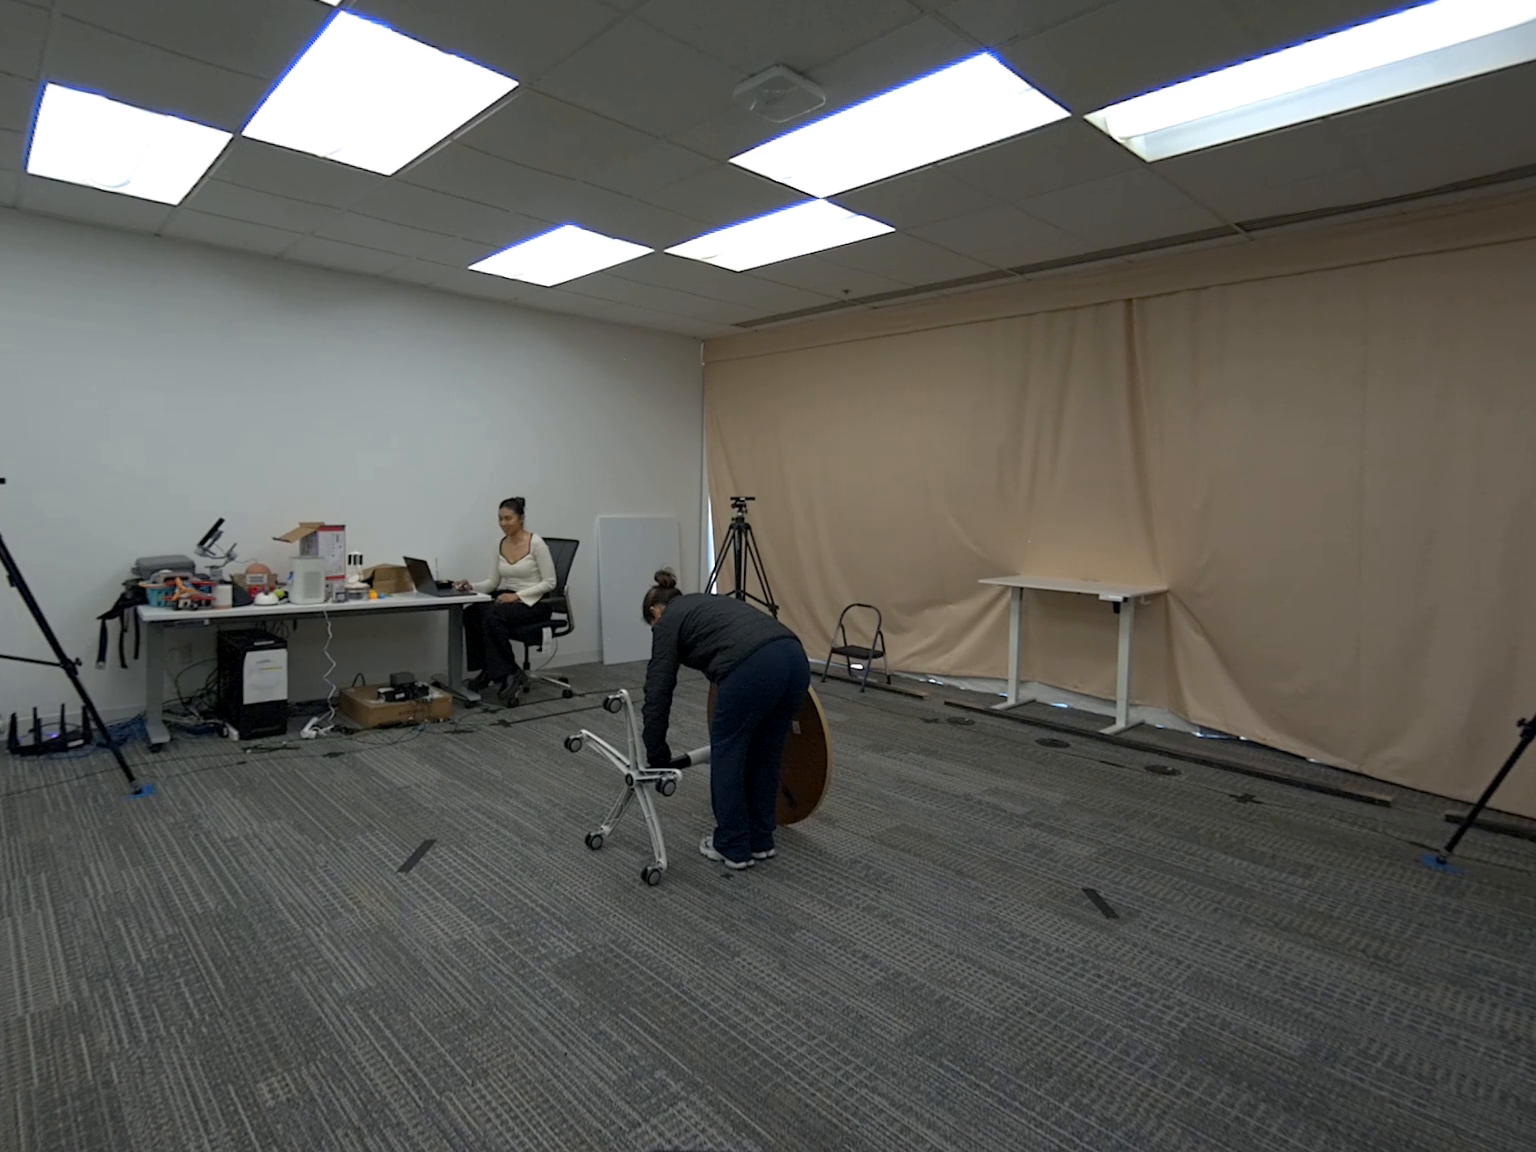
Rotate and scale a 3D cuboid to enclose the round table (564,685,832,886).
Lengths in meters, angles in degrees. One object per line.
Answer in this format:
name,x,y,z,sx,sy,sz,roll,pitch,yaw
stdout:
round table,-0.288,0.745,3.358,0.771,0.780,0.805,-10,11,-42
